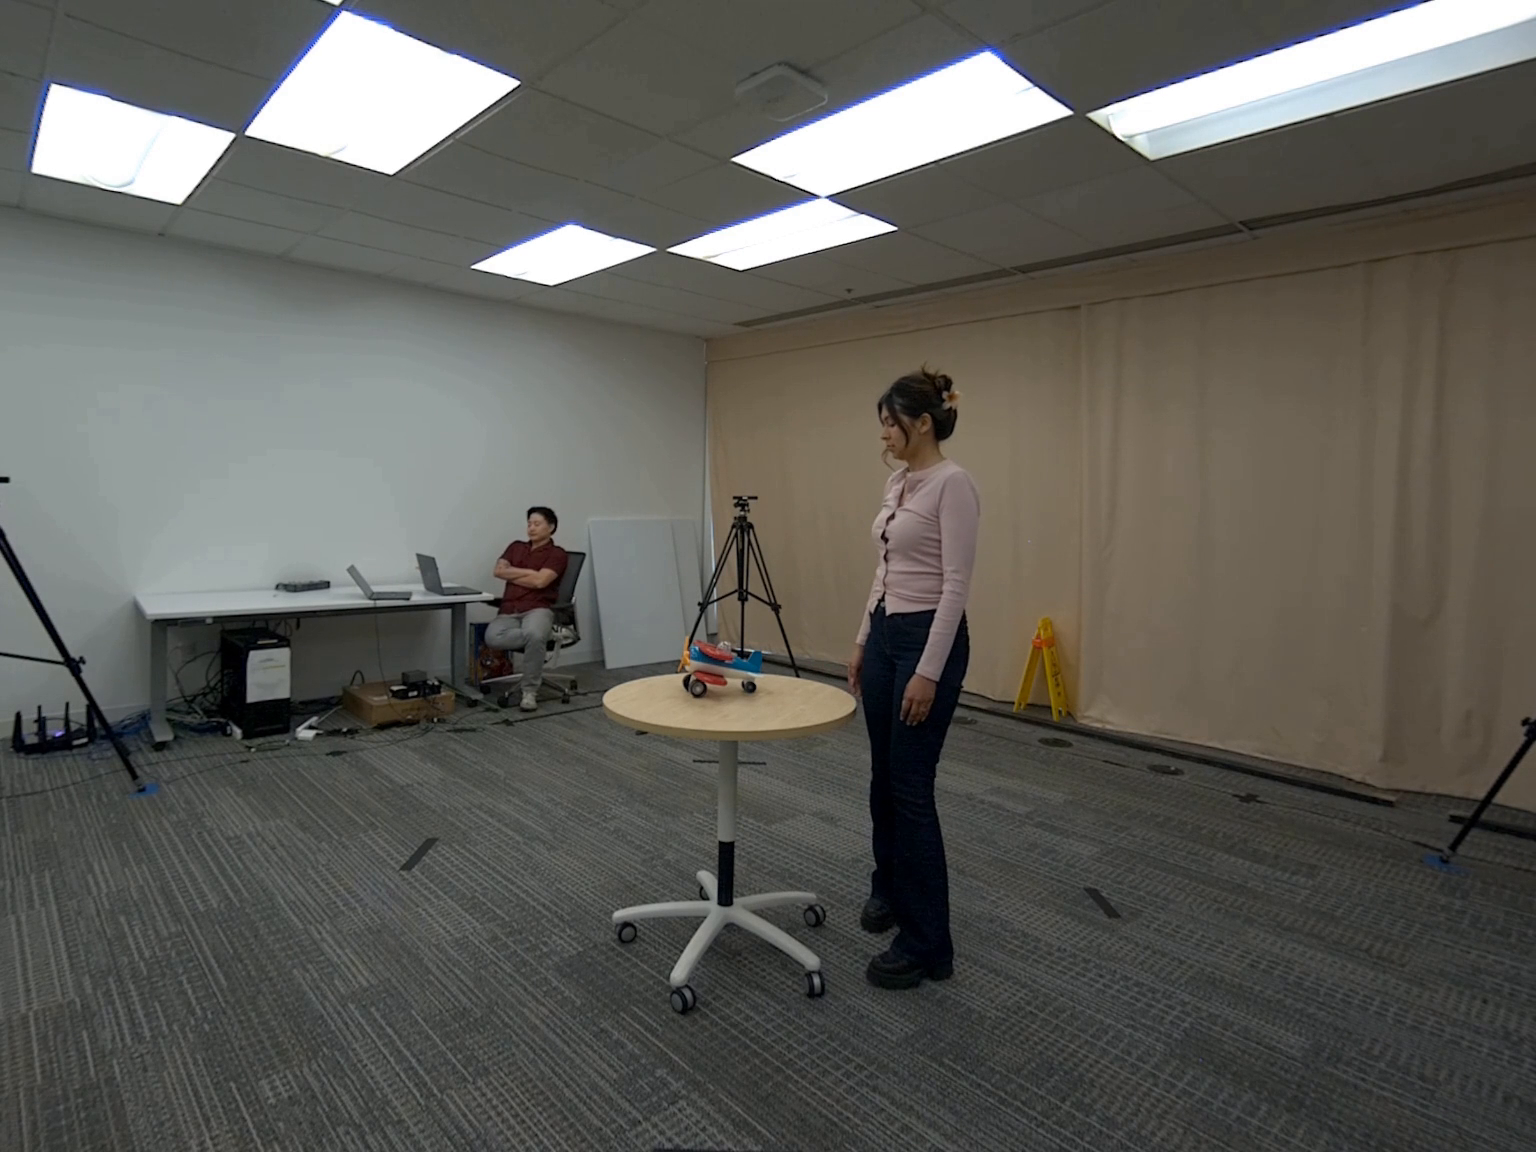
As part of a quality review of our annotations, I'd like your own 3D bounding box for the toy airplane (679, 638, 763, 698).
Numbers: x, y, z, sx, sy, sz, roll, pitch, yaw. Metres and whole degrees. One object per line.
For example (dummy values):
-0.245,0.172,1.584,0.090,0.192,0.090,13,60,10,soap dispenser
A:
-0.152,0.286,2.631,0.253,0.156,0.257,-3,6,-41,toy airplane
